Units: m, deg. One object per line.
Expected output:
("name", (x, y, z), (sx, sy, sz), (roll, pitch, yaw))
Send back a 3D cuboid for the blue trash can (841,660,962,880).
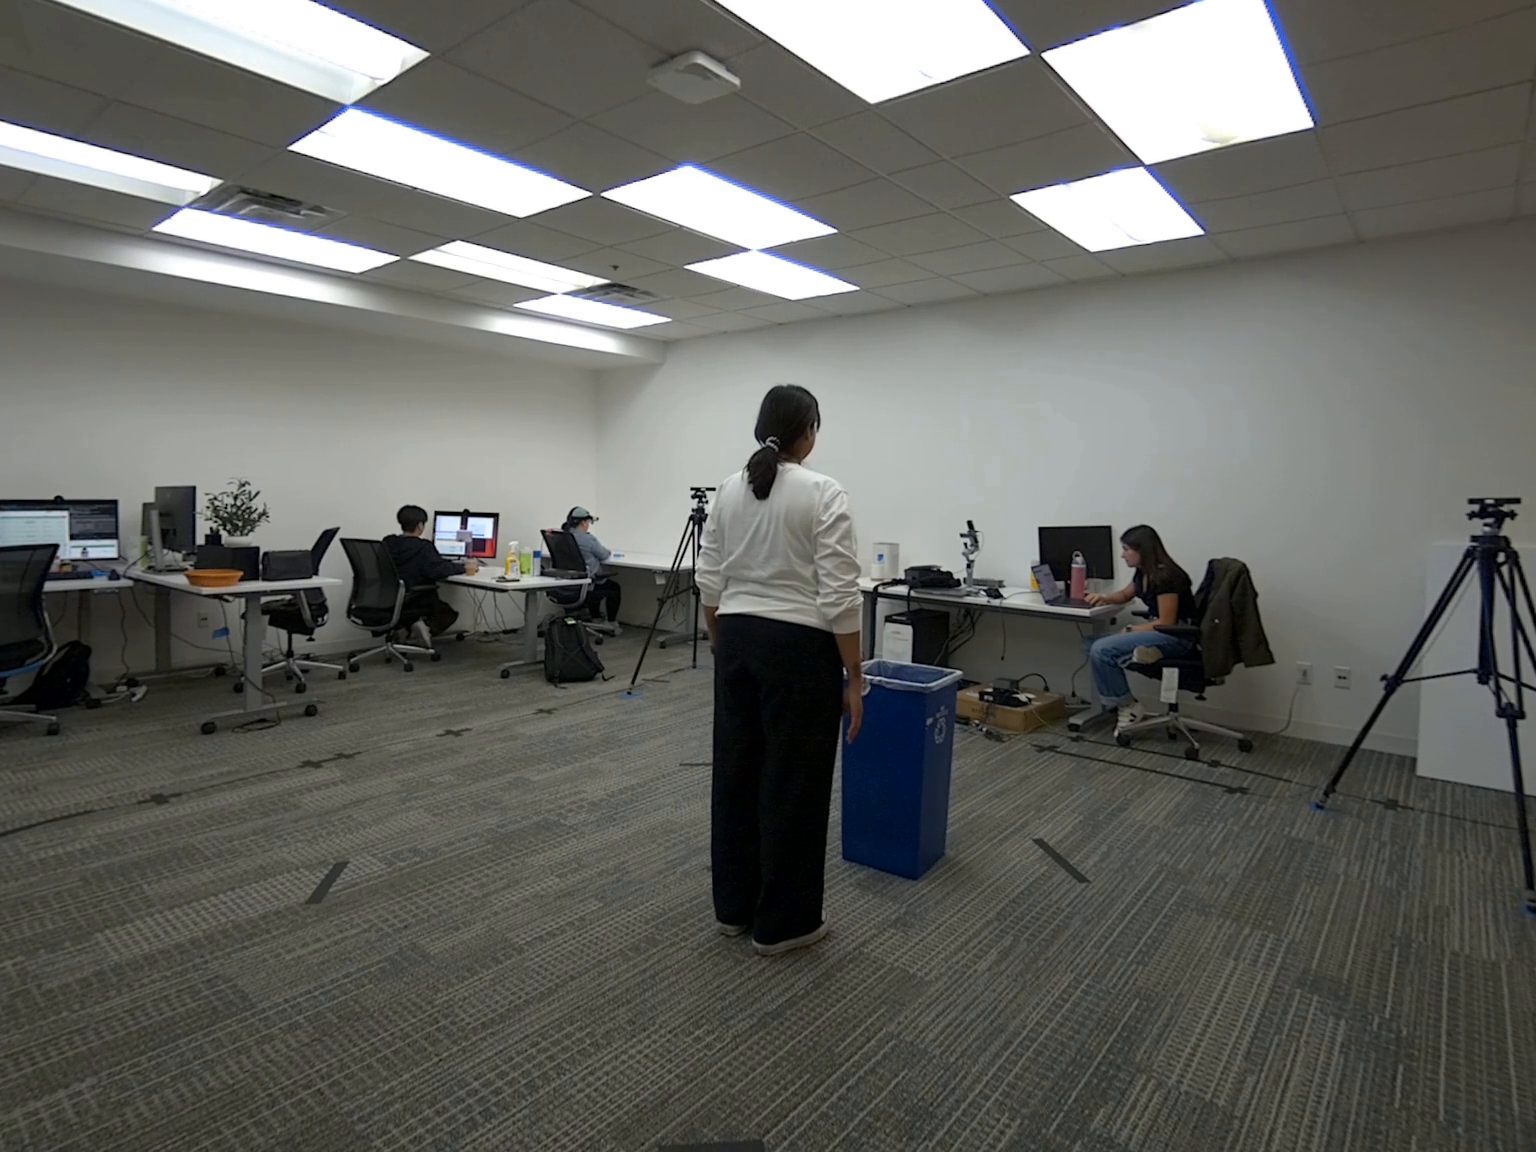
("blue trash can", (0.485, 0.710, 3.243), (0.390, 0.711, 0.364), (4, 4, 33))
